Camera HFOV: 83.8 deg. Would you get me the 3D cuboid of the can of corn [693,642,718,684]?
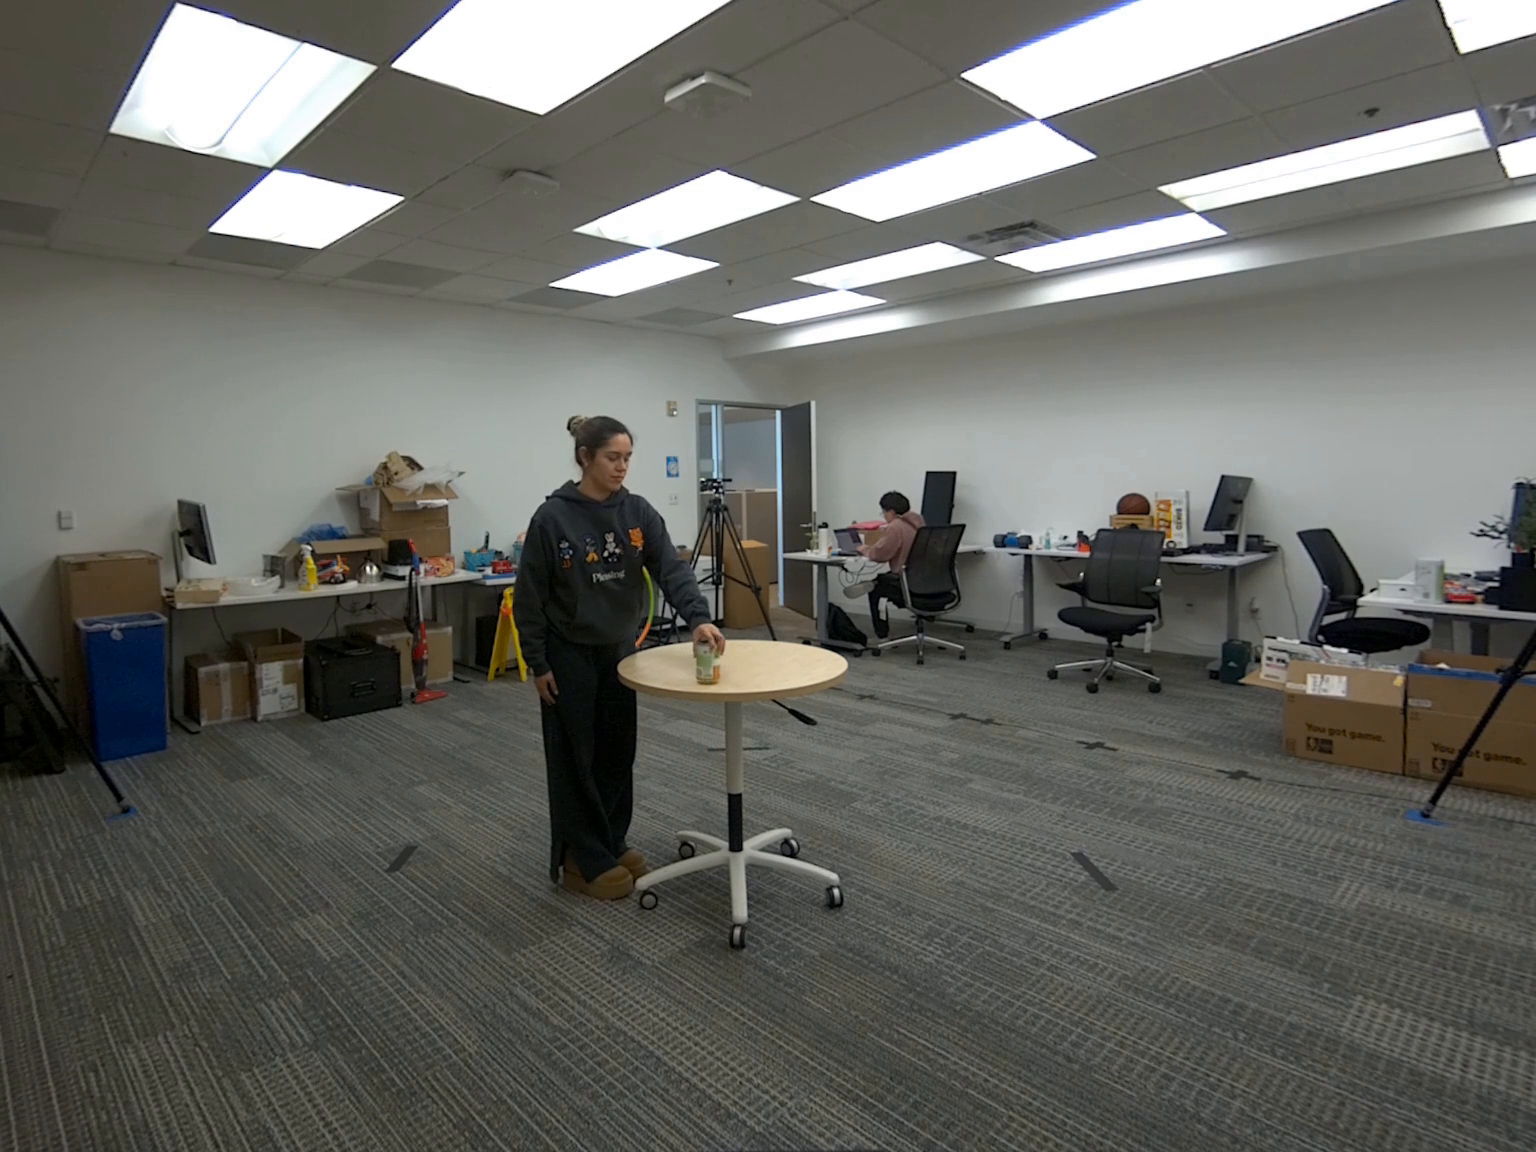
[{"bbox_3d":[-0.167,0.252,2.585,0.074,0.111,0.074,1,1,-2],"label":"can of corn"}]
